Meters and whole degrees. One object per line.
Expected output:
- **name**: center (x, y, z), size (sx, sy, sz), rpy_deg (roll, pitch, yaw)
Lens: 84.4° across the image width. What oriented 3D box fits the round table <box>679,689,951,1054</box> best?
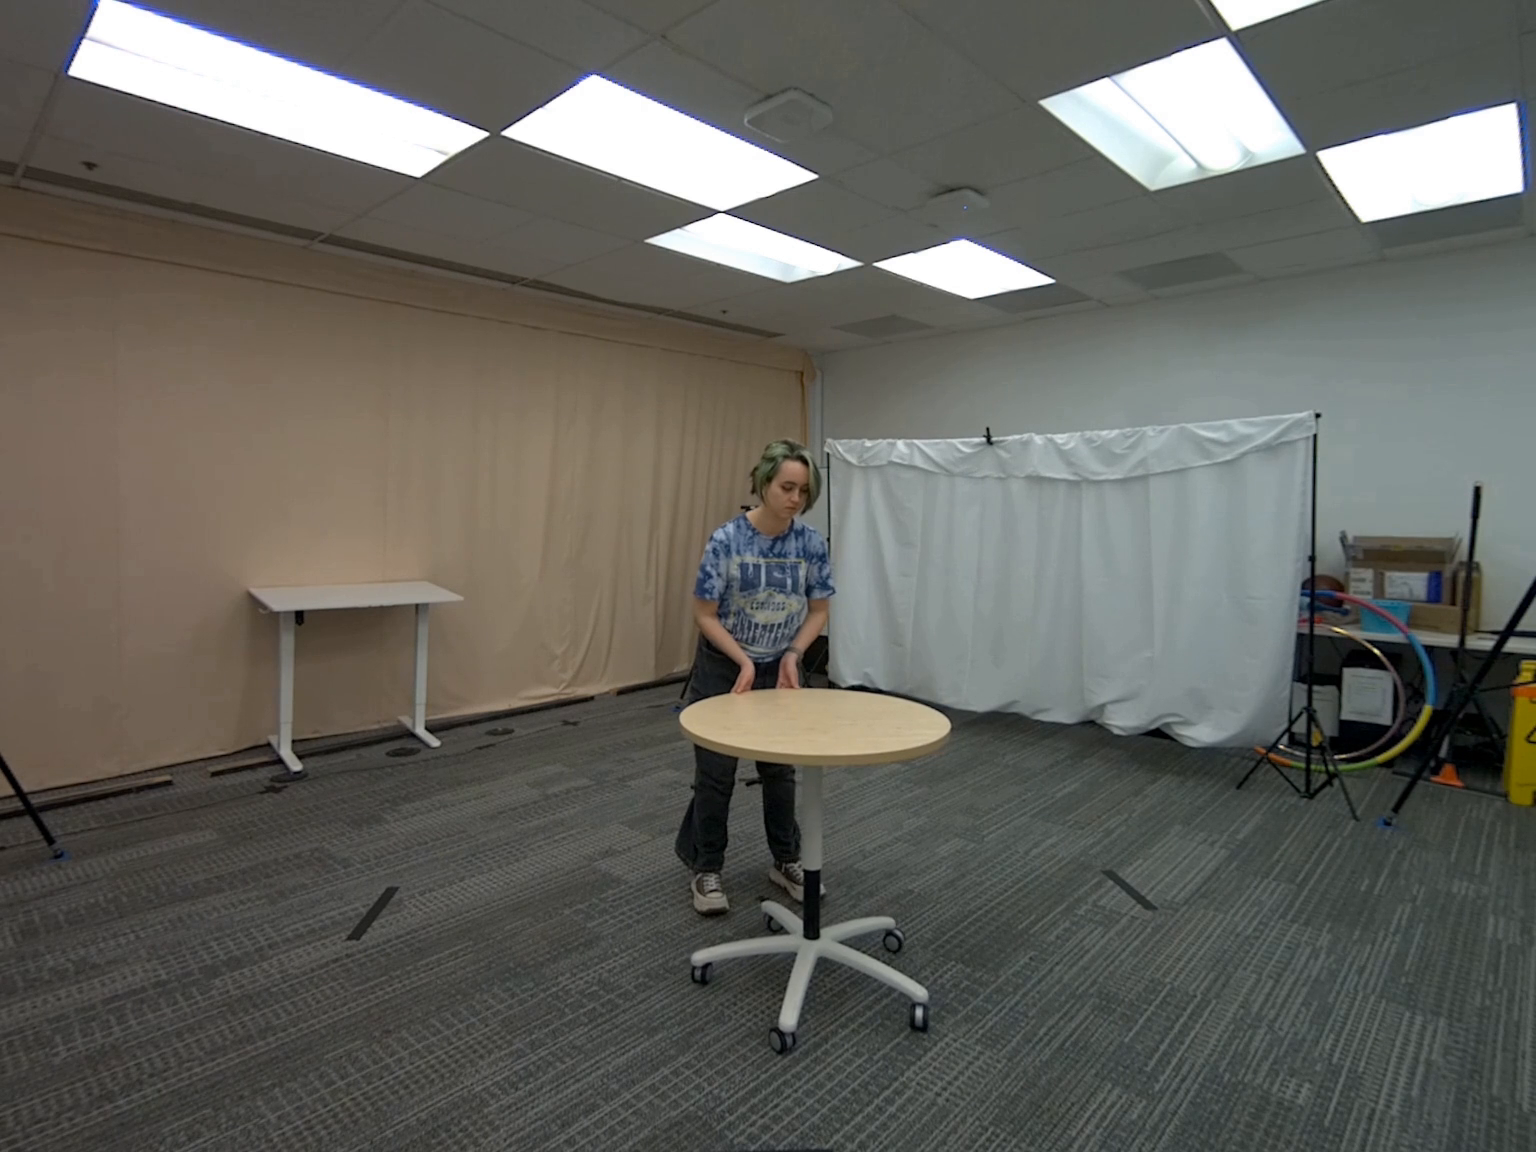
- **round table**: center (0.135, 0.800, 2.436), size (0.763, 0.792, 0.767), rpy_deg (0, 4, -2)
